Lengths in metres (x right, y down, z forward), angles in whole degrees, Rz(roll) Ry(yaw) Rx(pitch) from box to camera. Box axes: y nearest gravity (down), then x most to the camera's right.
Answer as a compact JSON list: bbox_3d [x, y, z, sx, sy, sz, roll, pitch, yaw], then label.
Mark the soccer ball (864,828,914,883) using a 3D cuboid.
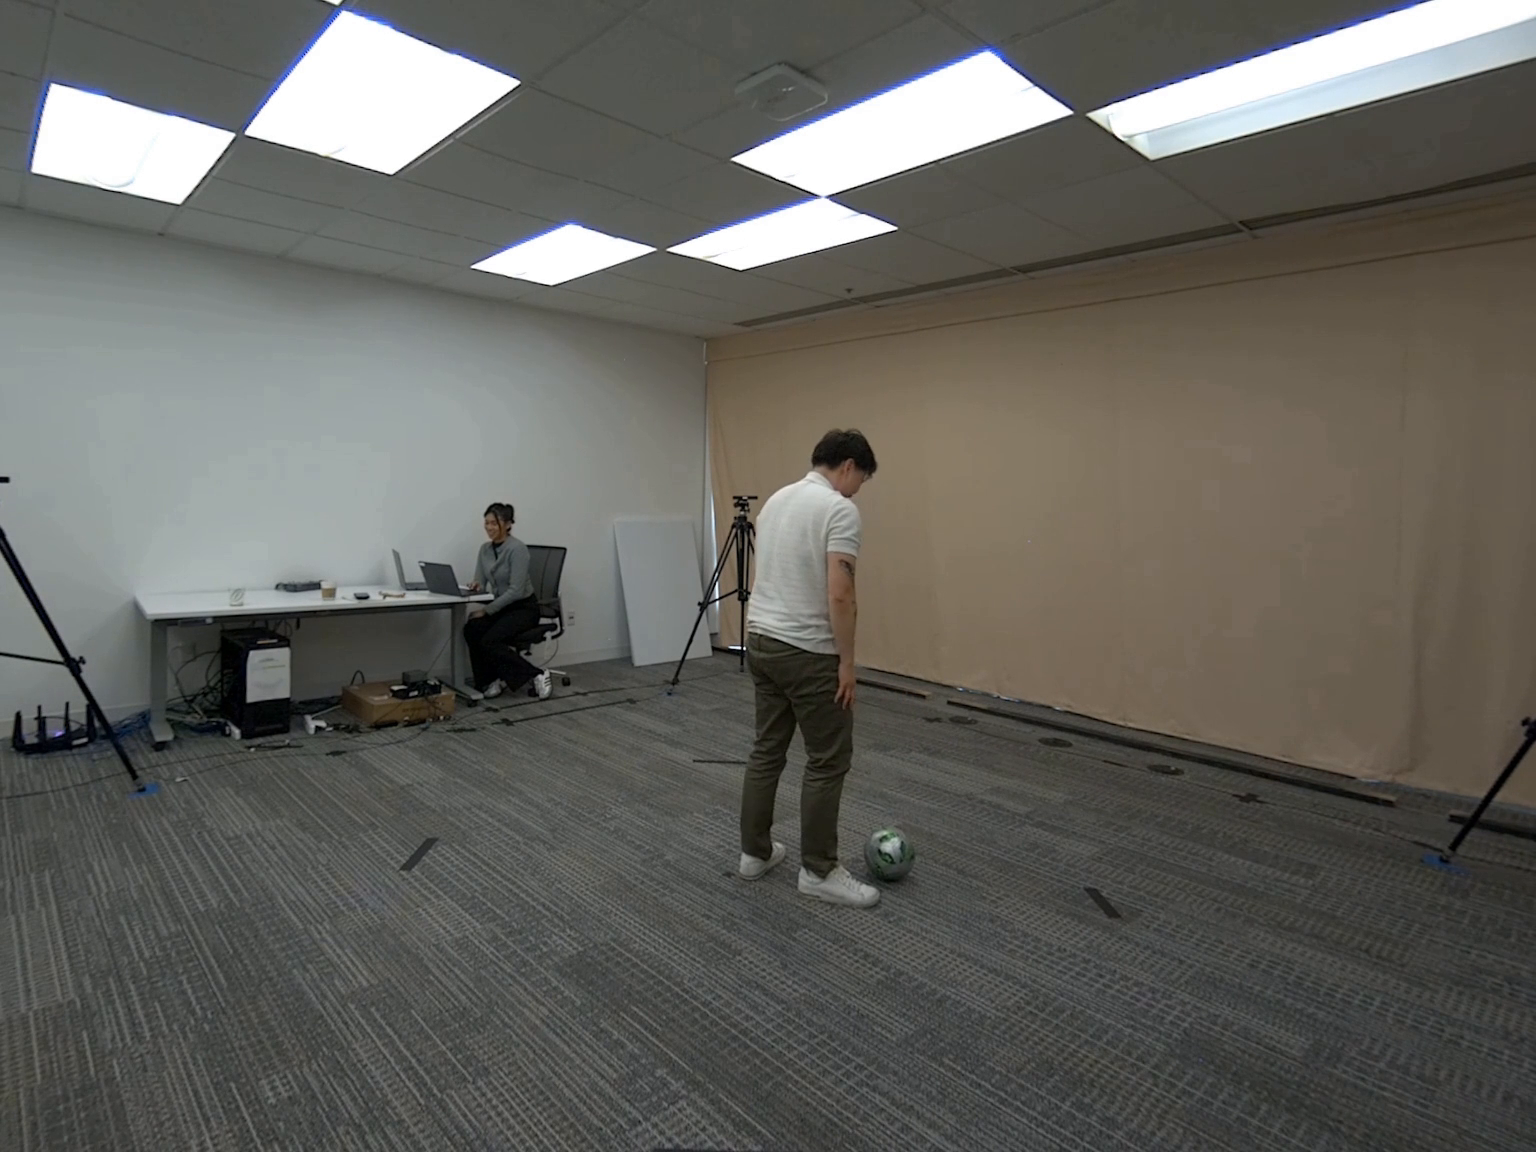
[{"bbox_3d":[0.433,1.023,3.101,0.187,0.187,0.188,1,4,-1],"label":"soccer ball"}]
